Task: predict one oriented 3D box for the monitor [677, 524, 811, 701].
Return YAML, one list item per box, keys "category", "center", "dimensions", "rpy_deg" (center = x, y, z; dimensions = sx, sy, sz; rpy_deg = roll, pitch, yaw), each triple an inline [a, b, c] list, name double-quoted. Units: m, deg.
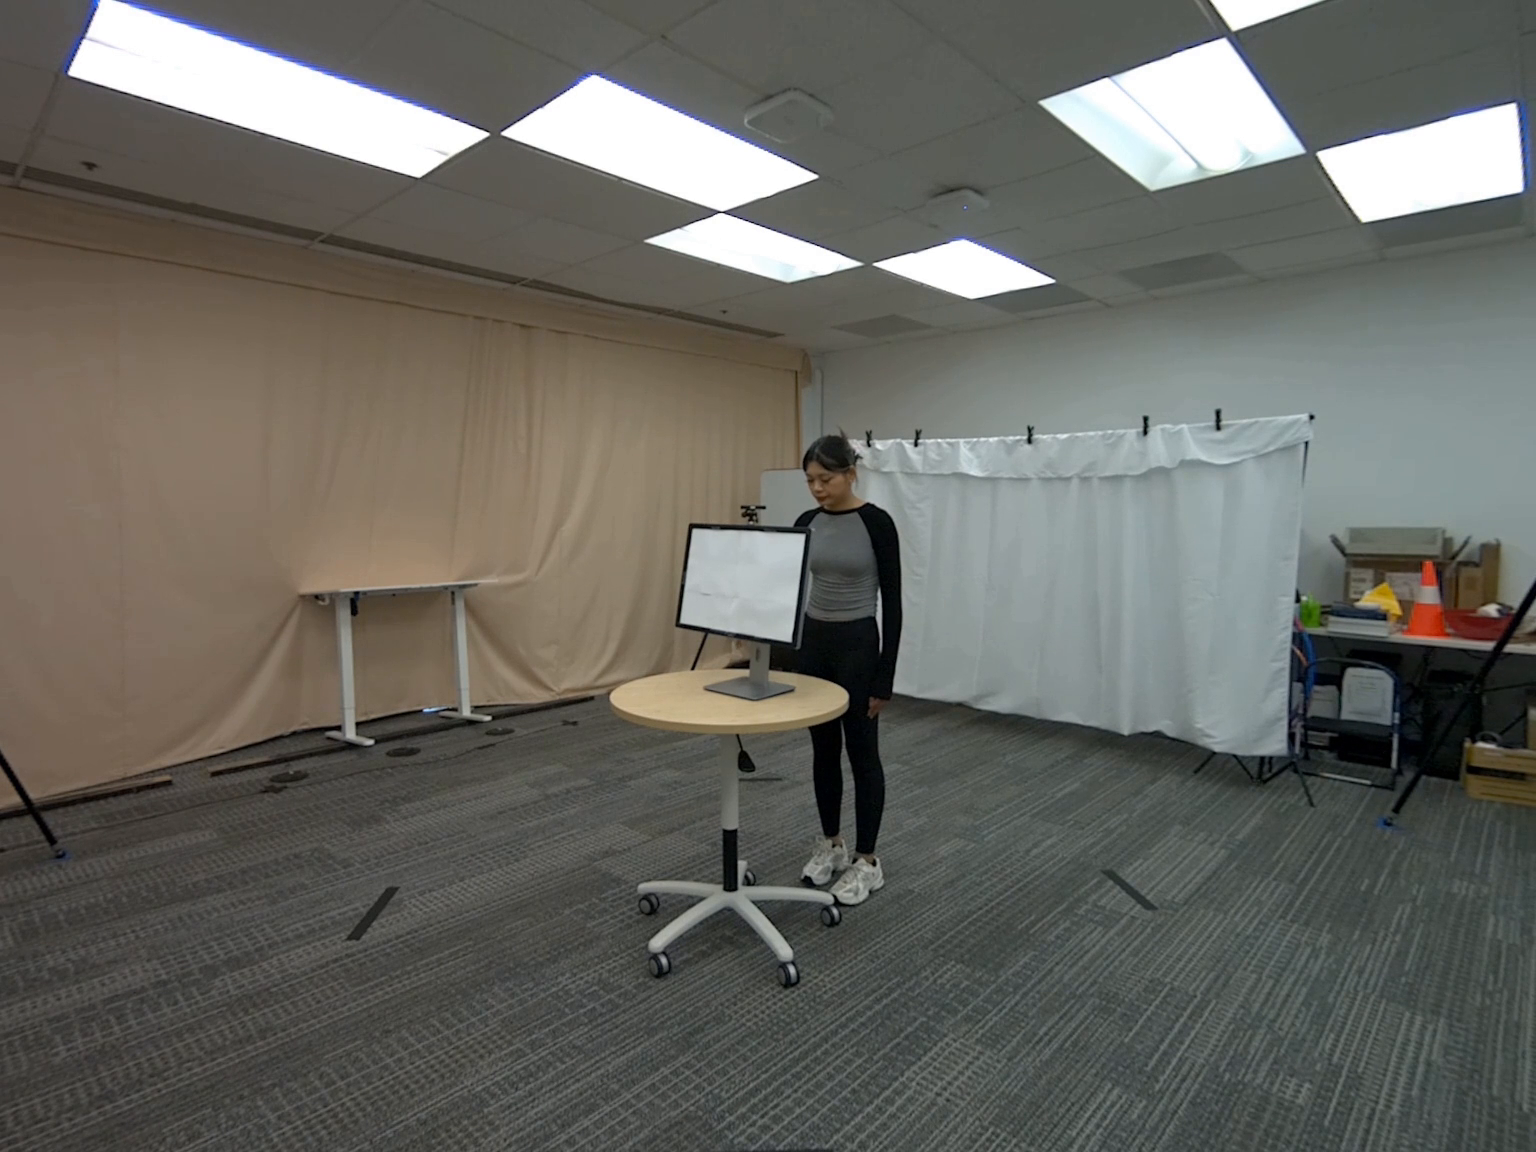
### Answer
- category: "monitor"
  center: [-0.057, 0.110, 2.744]
  dimensions: [0.557, 0.521, 0.181]
  rpy_deg: [4, 7, 43]
